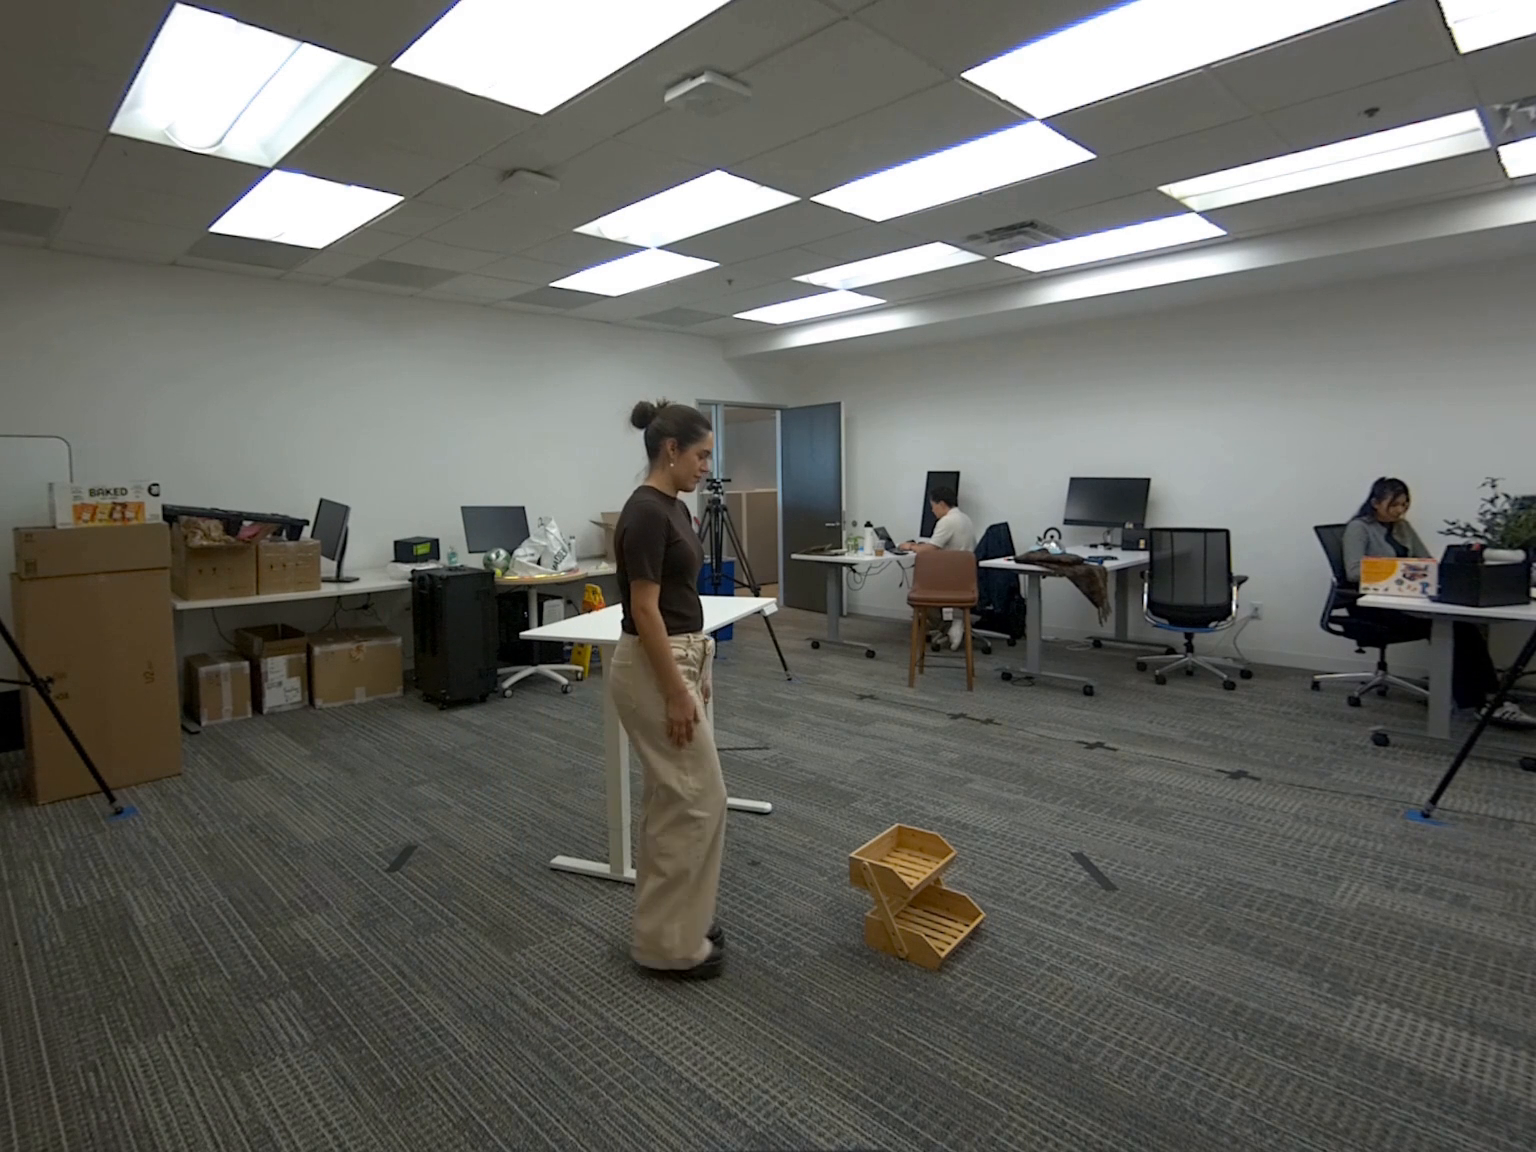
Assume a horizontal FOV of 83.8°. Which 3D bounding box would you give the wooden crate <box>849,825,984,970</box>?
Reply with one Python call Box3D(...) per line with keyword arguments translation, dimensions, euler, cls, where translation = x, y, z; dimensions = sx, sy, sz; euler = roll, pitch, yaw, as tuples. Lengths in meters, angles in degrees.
Box3D(translation=(0.467, 0.962, 2.597), dimensions=(0.311, 0.272, 0.316), euler=(2, 6, 39), cls="wooden crate")
